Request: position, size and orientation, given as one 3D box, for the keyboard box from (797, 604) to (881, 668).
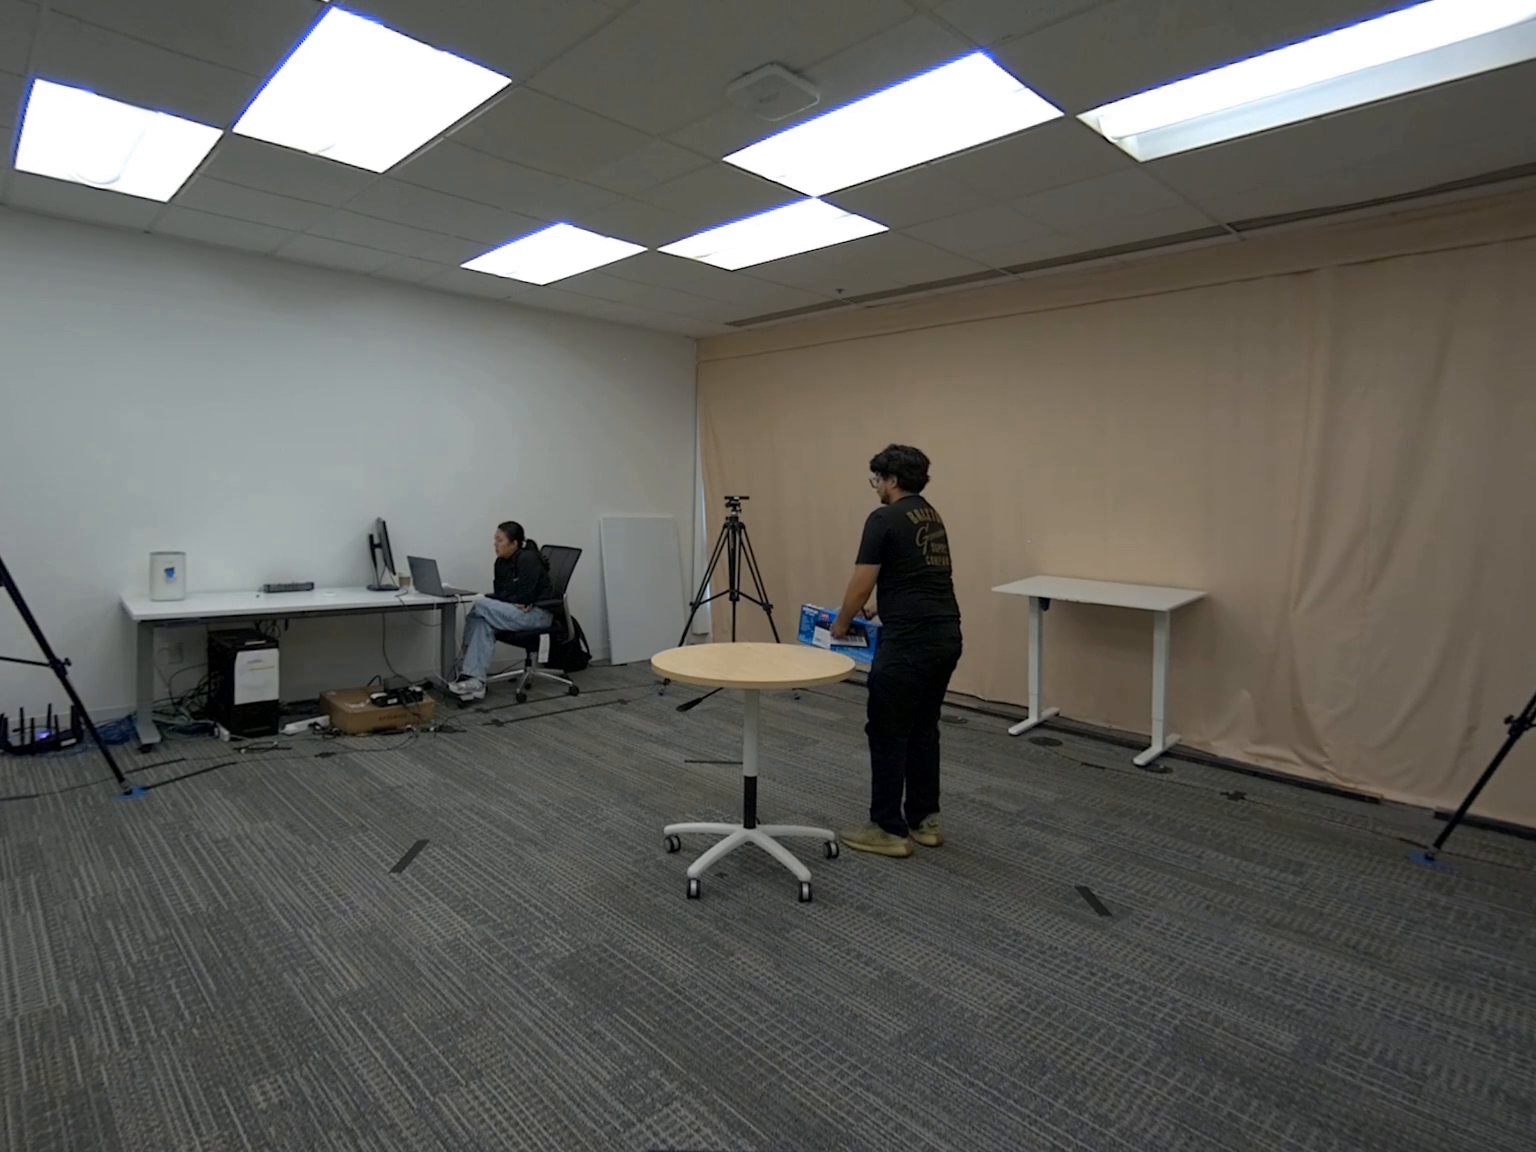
[{"bbox_3d":[0.310,0.259,3.724,0.058,0.175,0.449,0,11,-45],"label":"keyboard box"}]
